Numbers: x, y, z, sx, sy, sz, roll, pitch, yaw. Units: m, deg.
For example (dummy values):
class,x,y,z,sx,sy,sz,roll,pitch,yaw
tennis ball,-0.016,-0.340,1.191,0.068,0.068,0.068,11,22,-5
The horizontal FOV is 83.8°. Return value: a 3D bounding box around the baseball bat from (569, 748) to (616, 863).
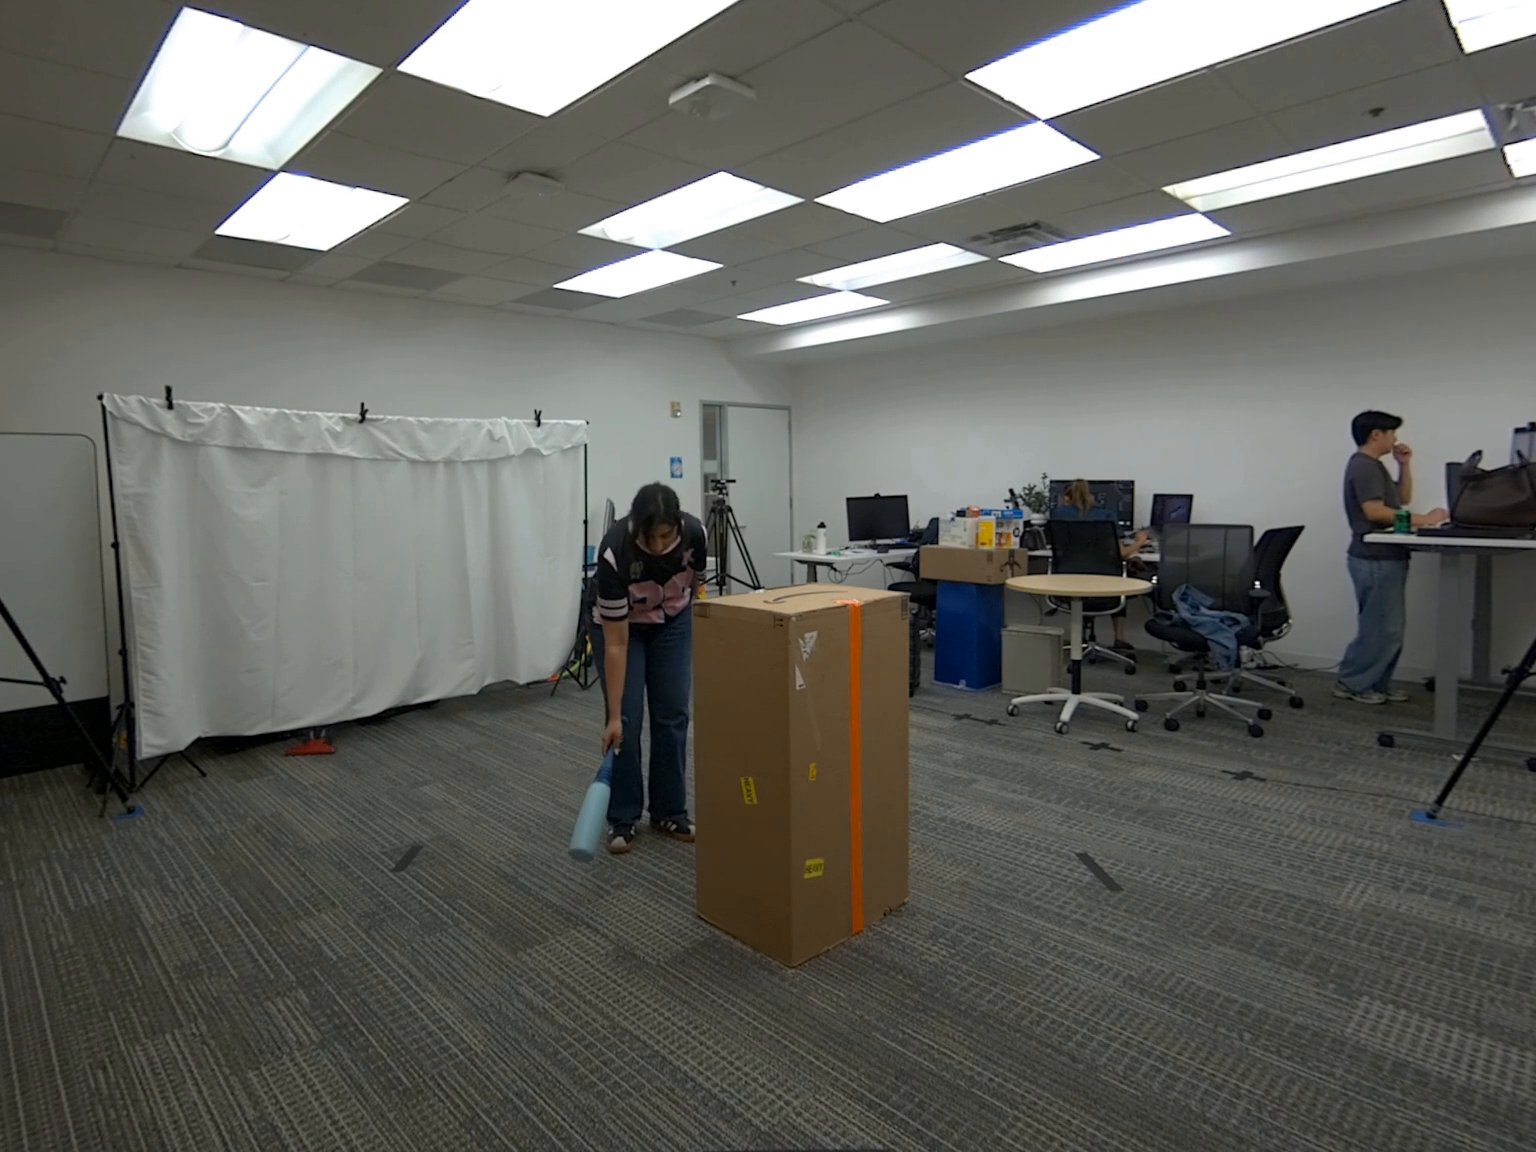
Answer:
class,x,y,z,sx,sy,sz,roll,pitch,yaw
baseball bat,-0.558,0.702,2.879,0.090,0.086,0.555,-1,42,7
